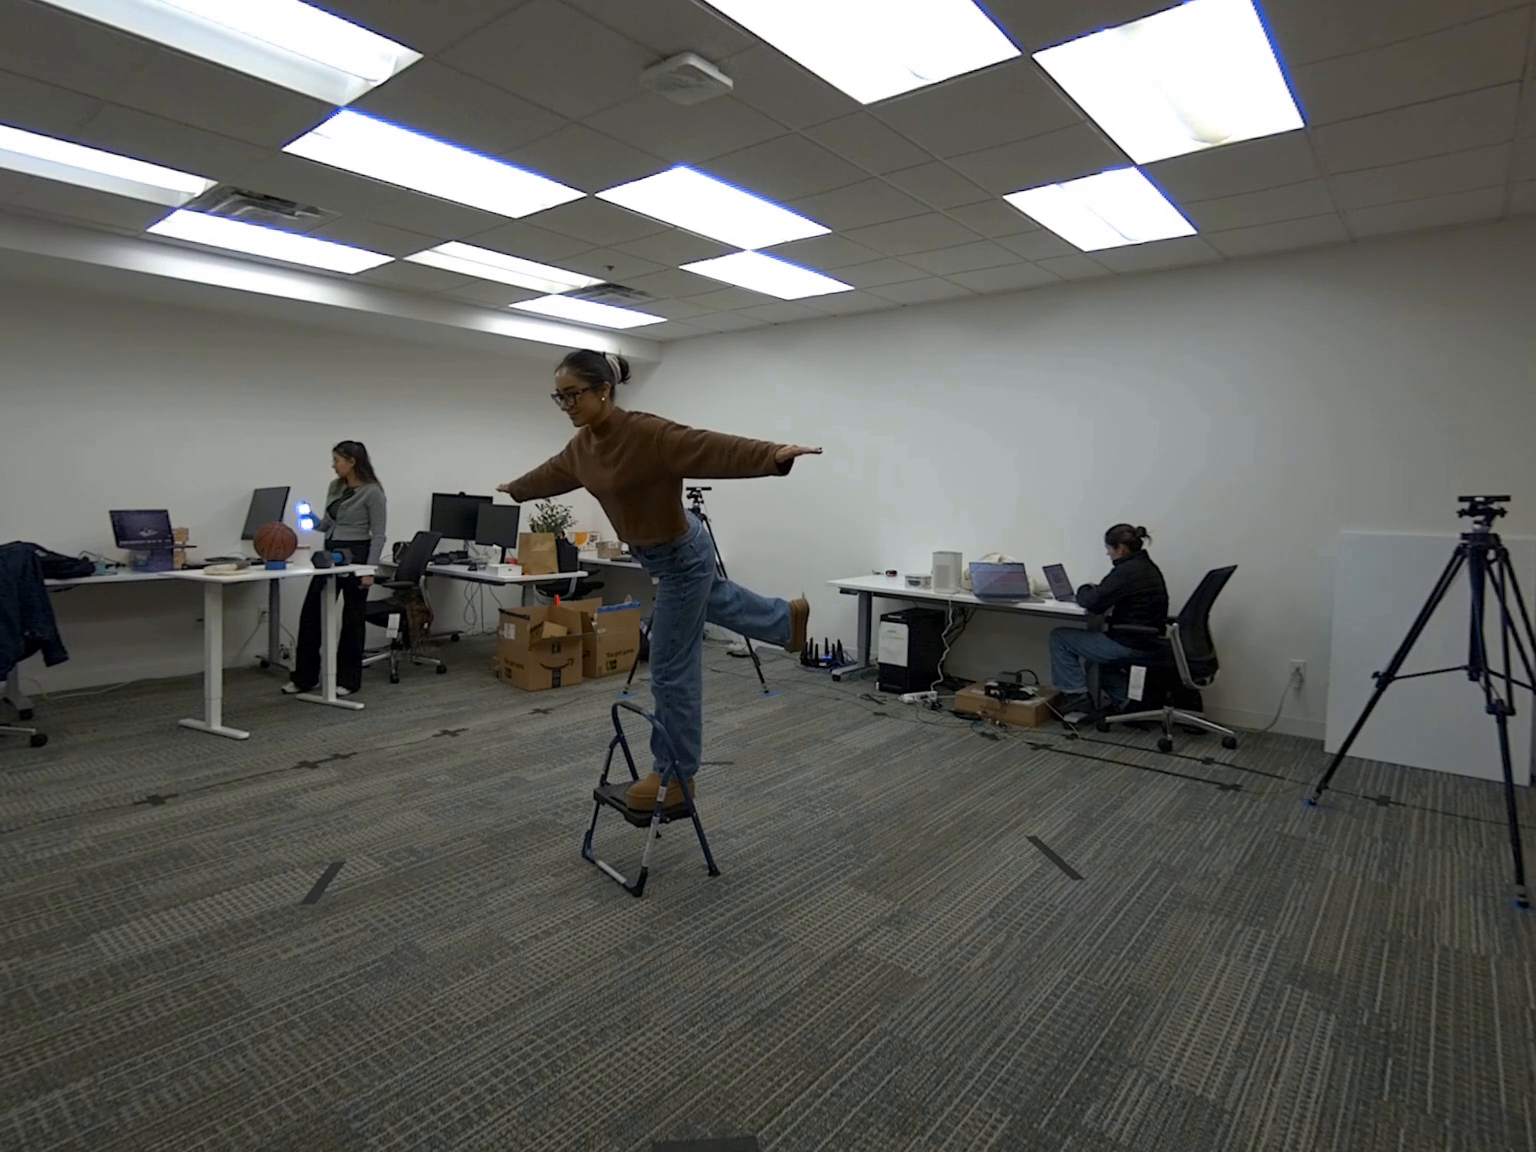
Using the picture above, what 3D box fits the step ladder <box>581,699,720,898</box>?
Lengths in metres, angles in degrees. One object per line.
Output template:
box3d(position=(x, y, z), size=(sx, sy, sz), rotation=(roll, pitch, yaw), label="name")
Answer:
box3d(position=(-0.446, 0.760, 3.117), size=(0.339, 0.604, 0.445), rotation=(-2, 5, -39), label="step ladder")
